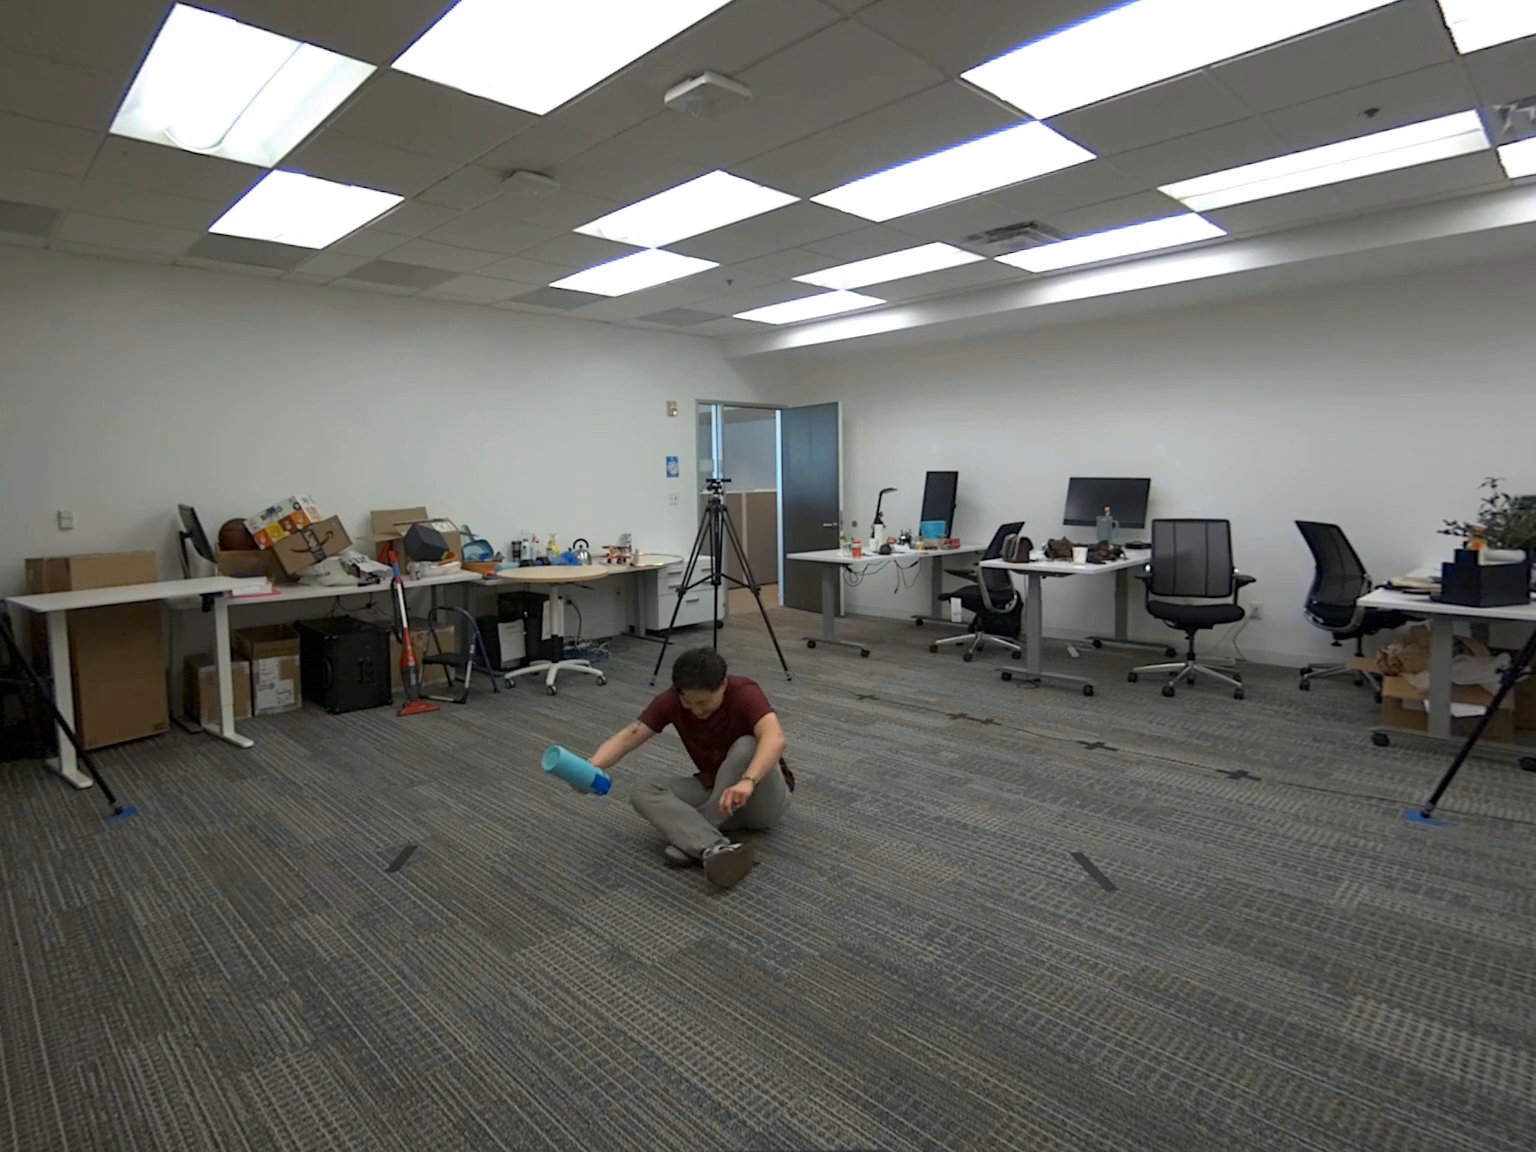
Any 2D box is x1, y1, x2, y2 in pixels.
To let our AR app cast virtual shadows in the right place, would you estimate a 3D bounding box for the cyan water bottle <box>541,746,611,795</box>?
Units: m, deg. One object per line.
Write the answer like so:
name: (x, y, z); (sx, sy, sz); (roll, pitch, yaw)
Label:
cyan water bottle: (-0.628, 0.643, 2.872); (0.095, 0.093, 0.272); (3, -29, 42)
